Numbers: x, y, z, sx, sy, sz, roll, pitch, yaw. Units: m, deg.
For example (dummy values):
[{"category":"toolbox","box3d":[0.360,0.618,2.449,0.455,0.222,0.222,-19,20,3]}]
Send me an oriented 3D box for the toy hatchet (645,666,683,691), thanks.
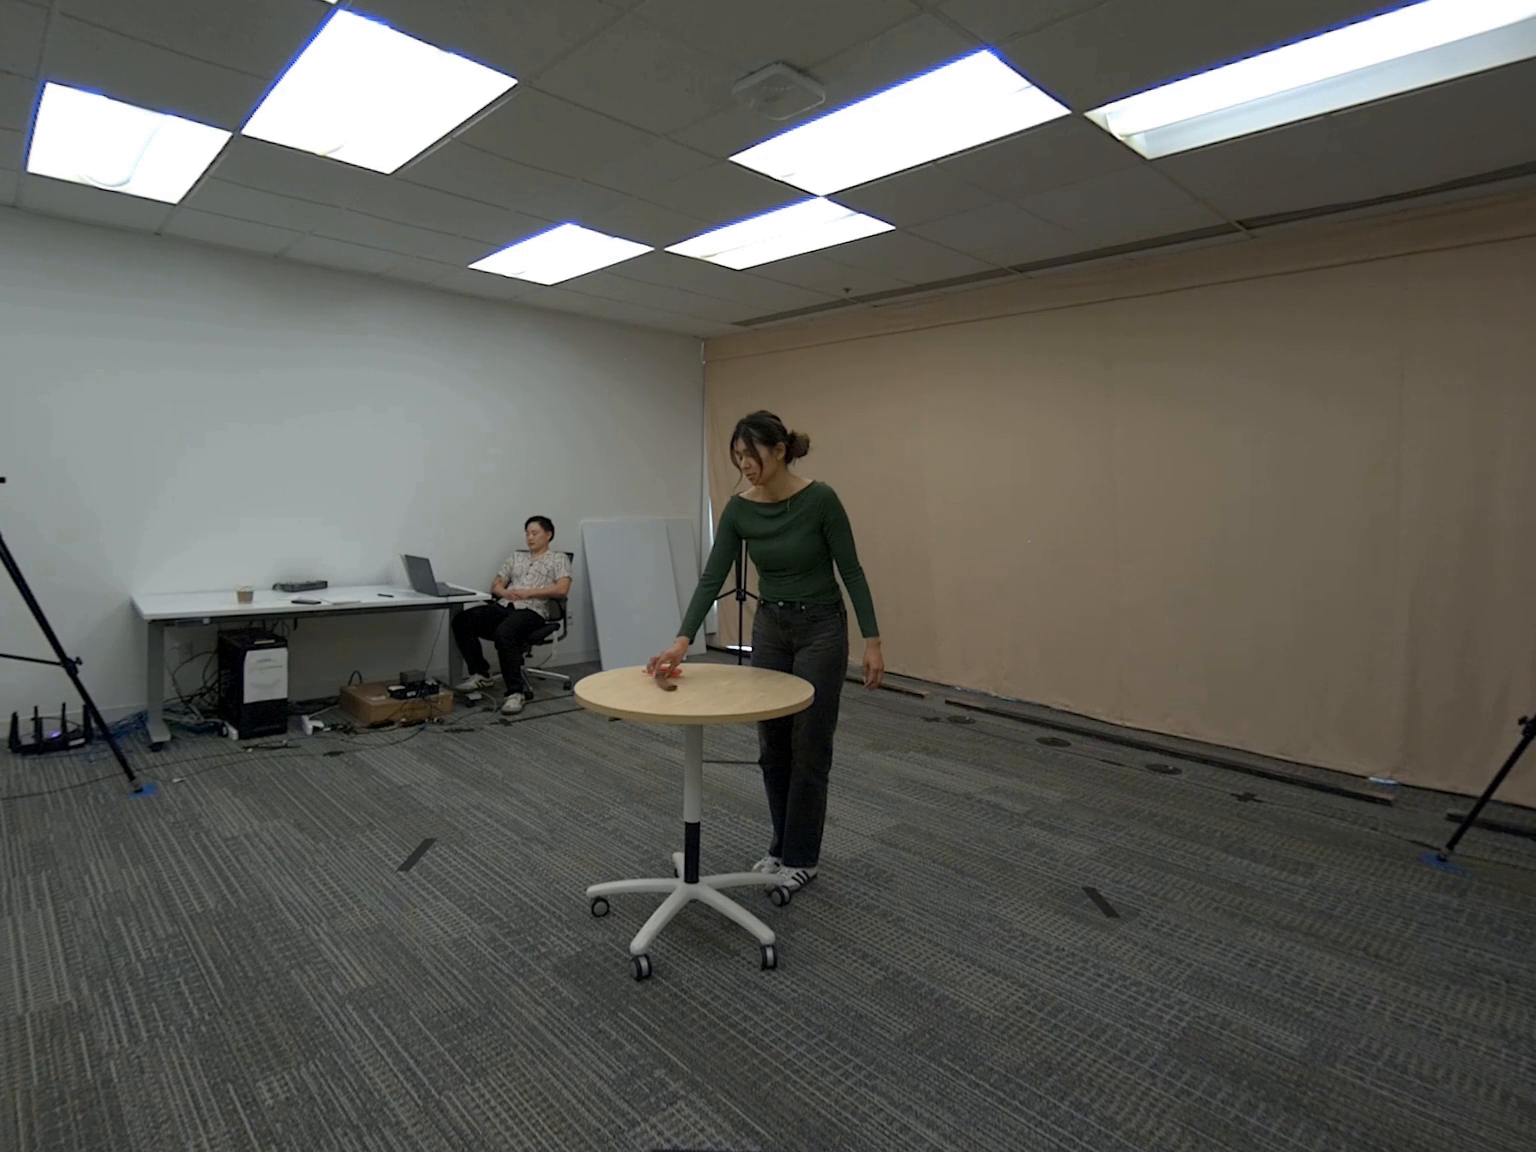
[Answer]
[{"category":"toy hatchet","box3d":[-0.323,0.338,2.749,0.129,0.029,0.275,0,5,-20]}]
